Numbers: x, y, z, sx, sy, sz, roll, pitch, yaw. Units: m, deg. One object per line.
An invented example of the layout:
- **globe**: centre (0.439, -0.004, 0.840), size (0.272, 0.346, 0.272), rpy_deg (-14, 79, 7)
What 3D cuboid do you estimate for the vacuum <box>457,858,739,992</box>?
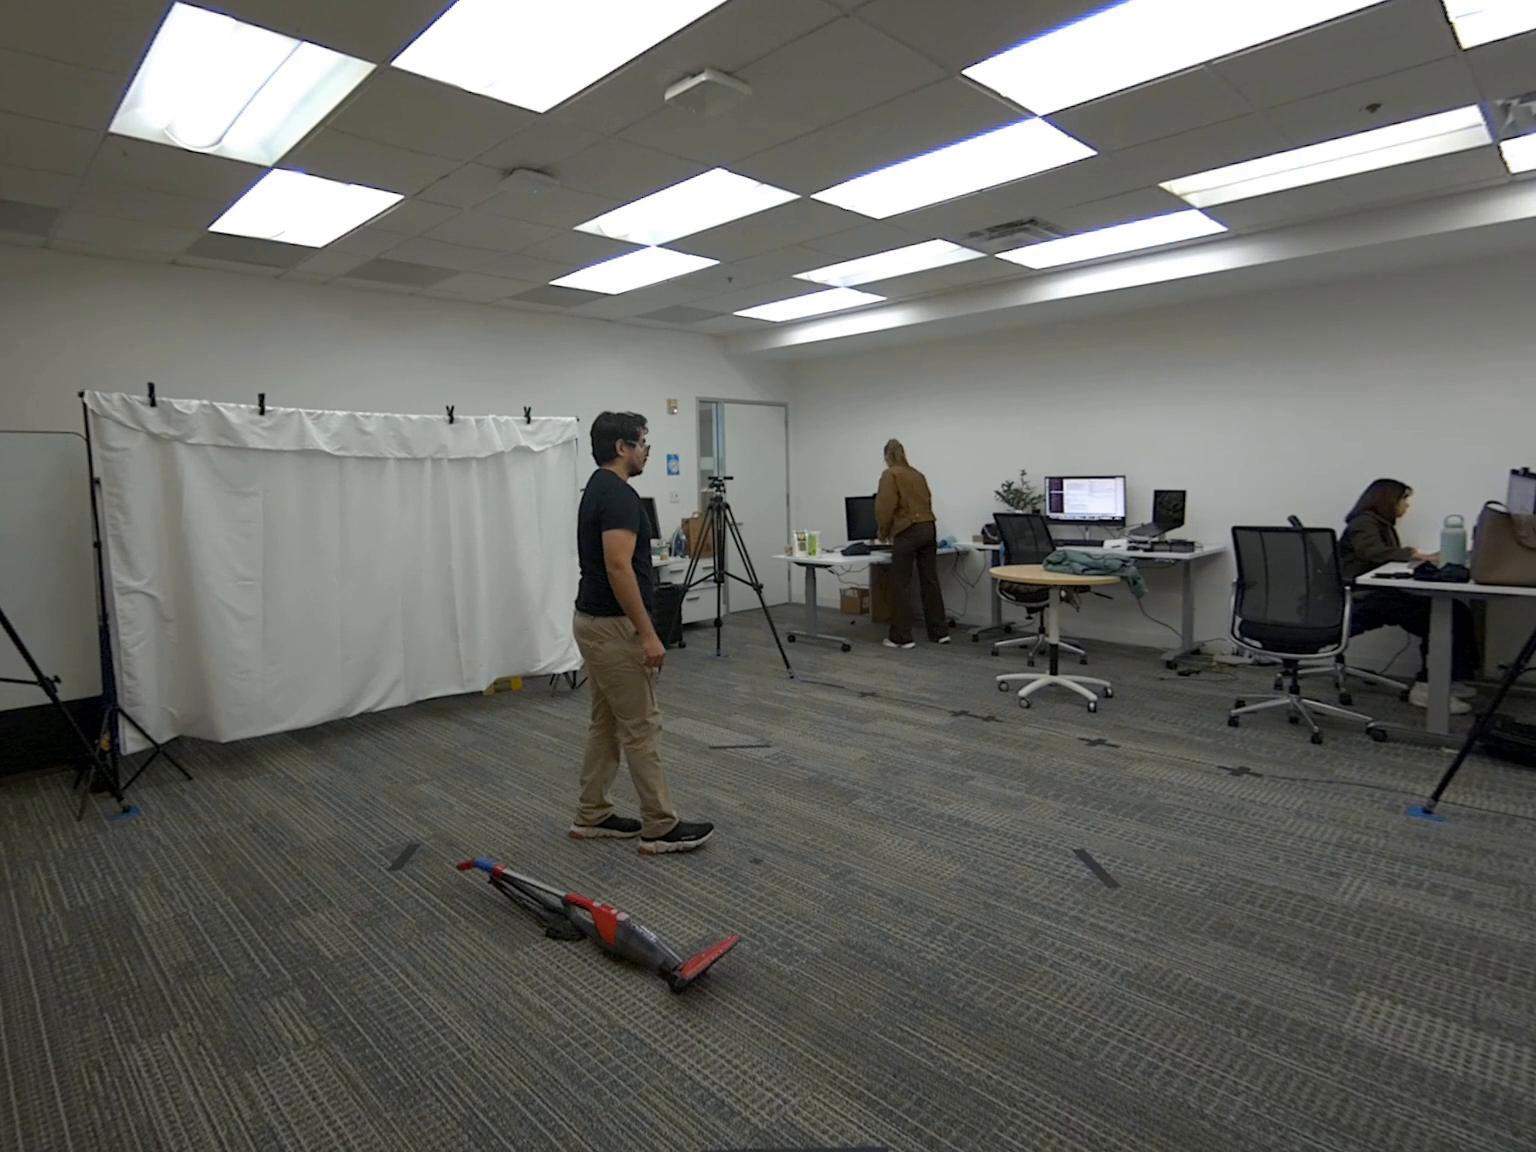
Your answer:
- **vacuum**: centre (-0.613, 1.051, 2.648), size (1.080, 0.143, 0.246), rpy_deg (4, 6, 35)
